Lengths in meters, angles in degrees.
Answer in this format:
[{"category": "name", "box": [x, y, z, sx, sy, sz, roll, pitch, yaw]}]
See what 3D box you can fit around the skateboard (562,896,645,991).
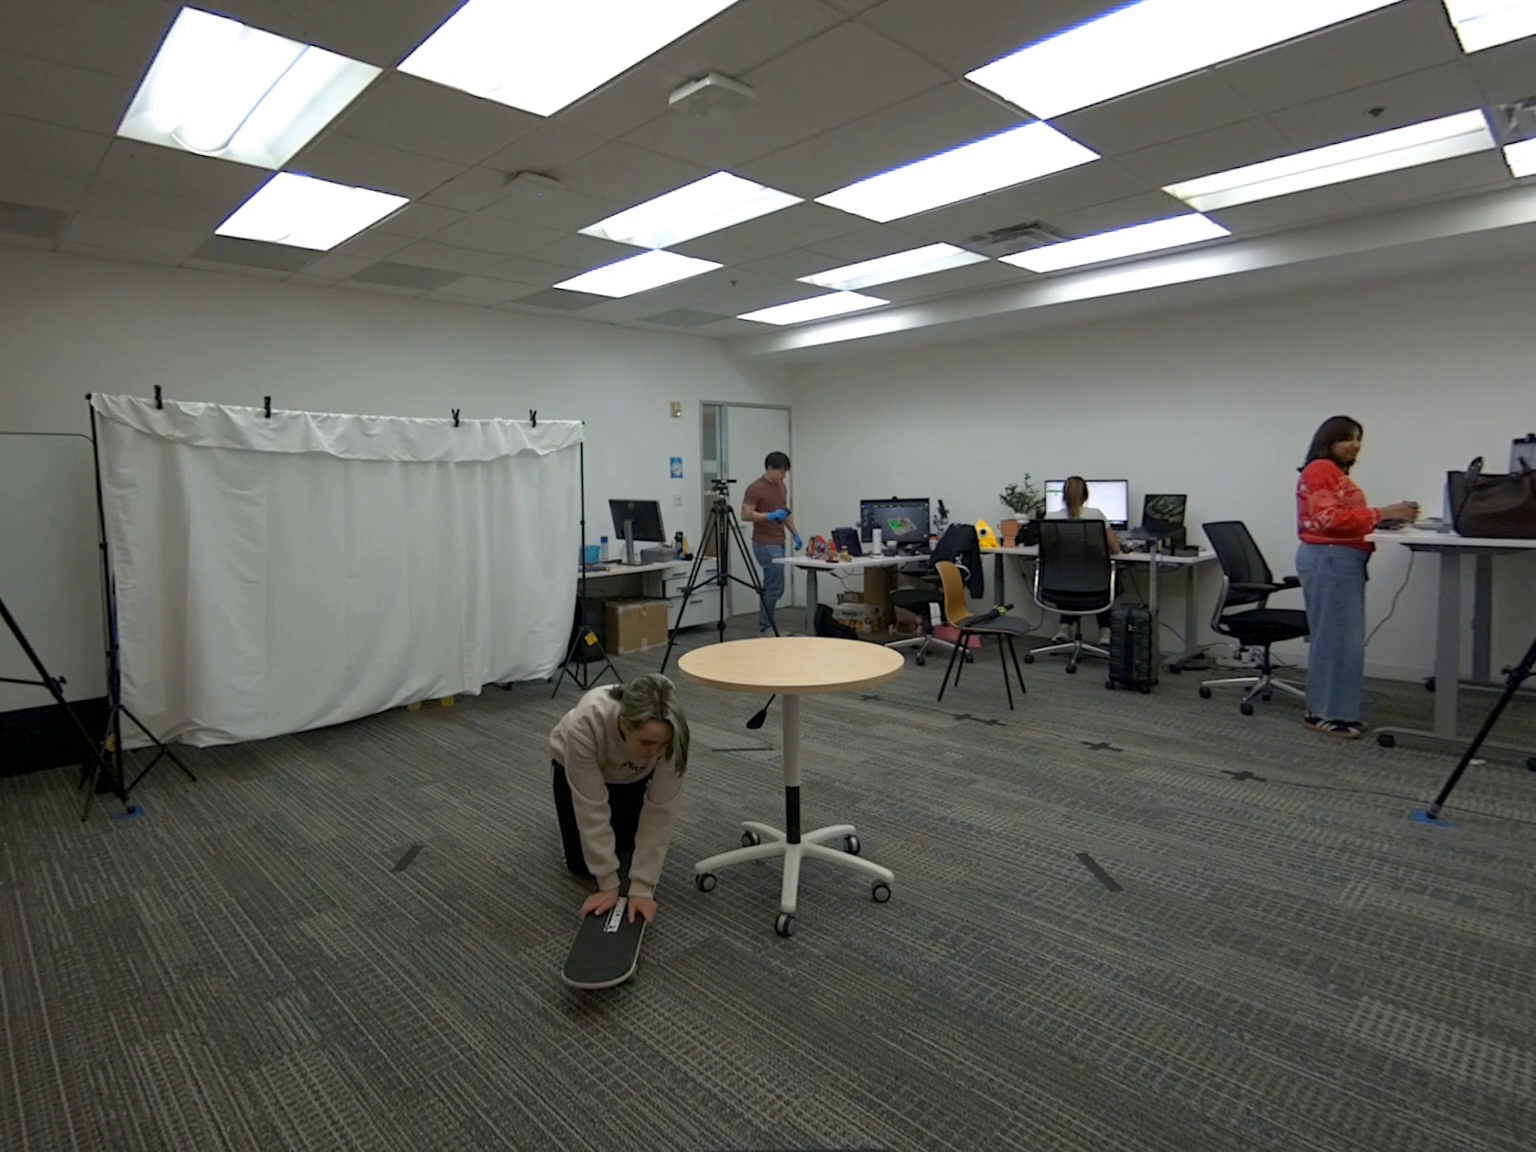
[{"category": "skateboard", "box": [-0.458, 1.068, 2.593, 0.194, 0.110, 0.787, -2, 6, 0]}]
